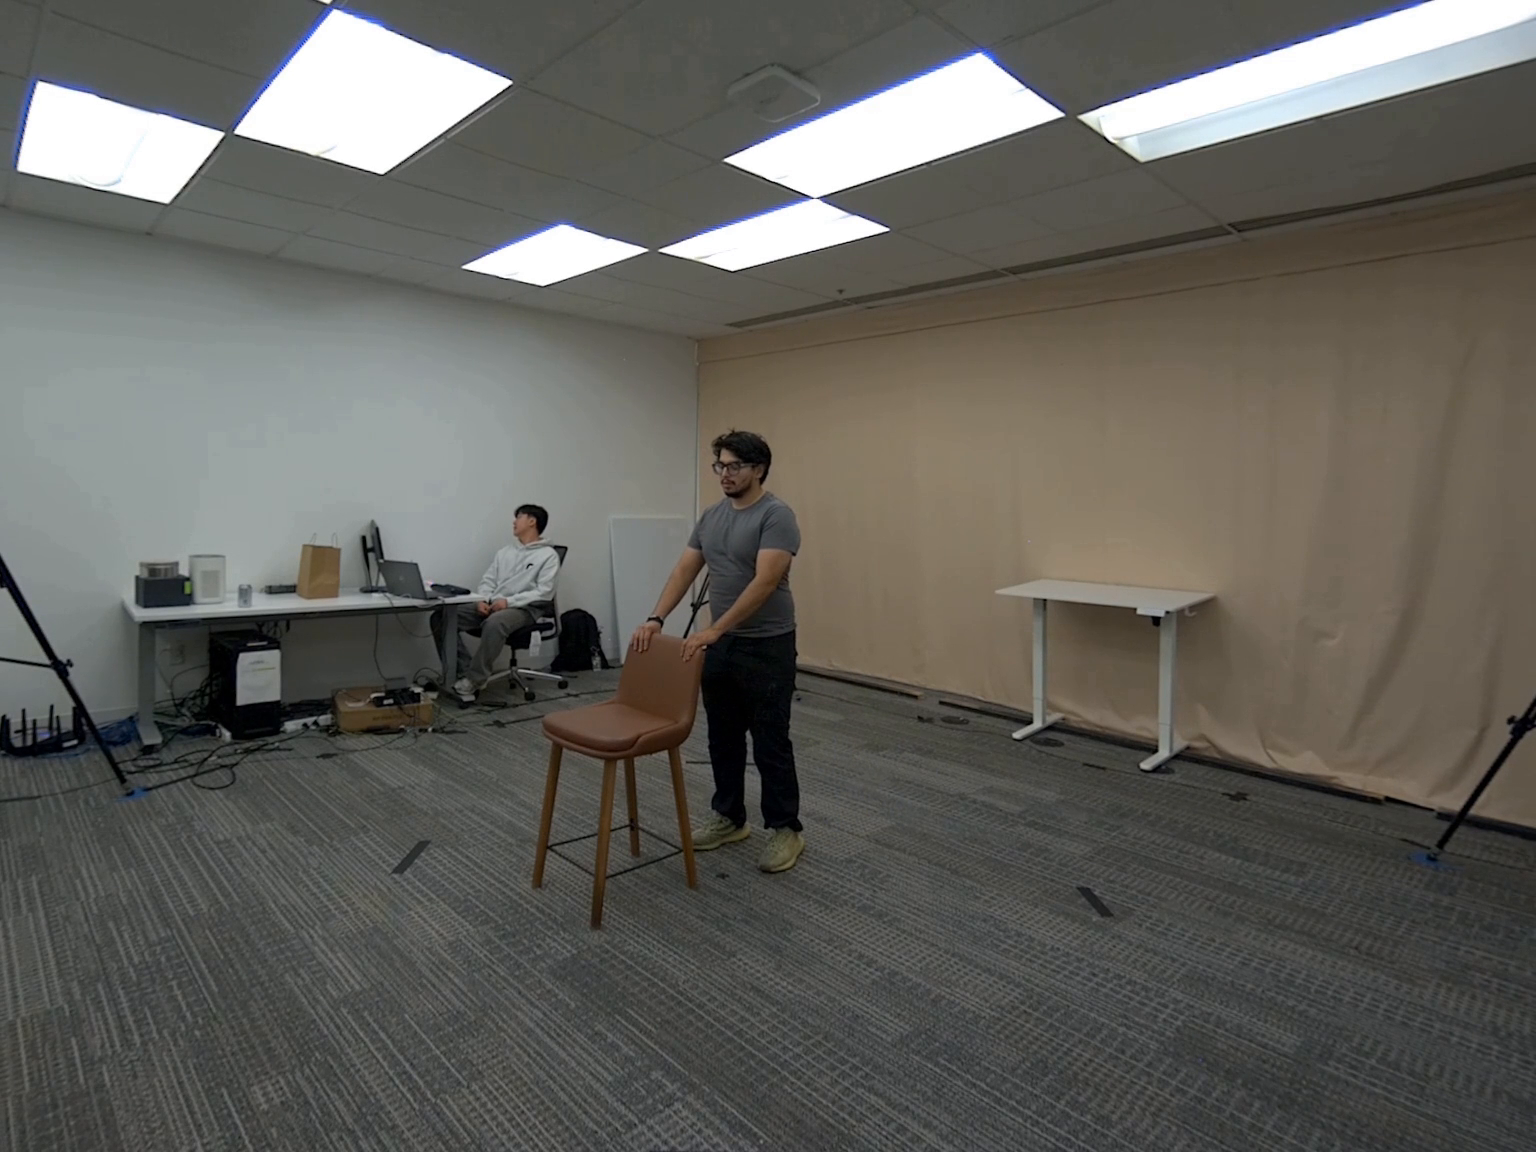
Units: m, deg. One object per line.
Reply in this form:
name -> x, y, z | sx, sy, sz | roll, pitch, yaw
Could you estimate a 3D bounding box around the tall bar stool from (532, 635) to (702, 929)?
tall bar stool -> -0.527, 0.673, 2.973 | 0.456, 0.888, 0.468 | 1, 3, -43
